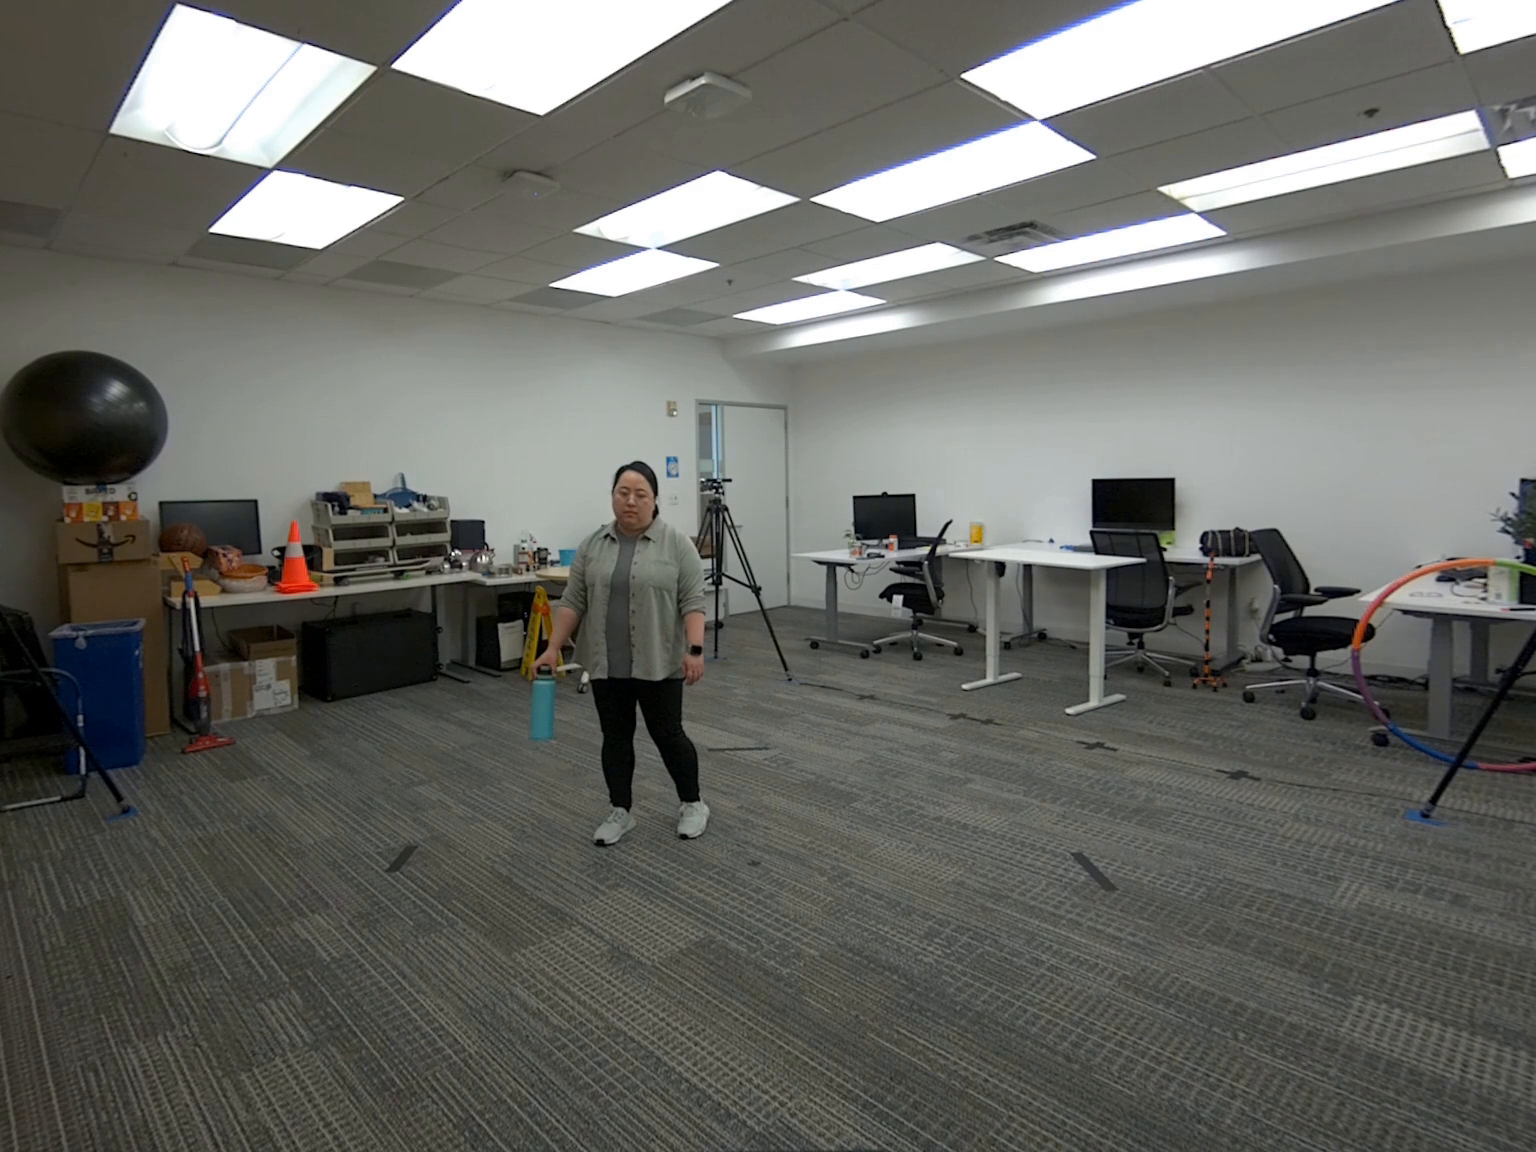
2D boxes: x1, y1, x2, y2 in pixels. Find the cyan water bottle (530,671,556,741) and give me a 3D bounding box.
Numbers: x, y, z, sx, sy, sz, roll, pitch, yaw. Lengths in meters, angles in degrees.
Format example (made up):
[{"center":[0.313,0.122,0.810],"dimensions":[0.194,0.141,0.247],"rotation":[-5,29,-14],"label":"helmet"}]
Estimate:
[{"center":[-0.859,0.489,3.304],"dimensions":[0.092,0.284,0.092],"rotation":[2,-2,-2],"label":"cyan water bottle"}]
